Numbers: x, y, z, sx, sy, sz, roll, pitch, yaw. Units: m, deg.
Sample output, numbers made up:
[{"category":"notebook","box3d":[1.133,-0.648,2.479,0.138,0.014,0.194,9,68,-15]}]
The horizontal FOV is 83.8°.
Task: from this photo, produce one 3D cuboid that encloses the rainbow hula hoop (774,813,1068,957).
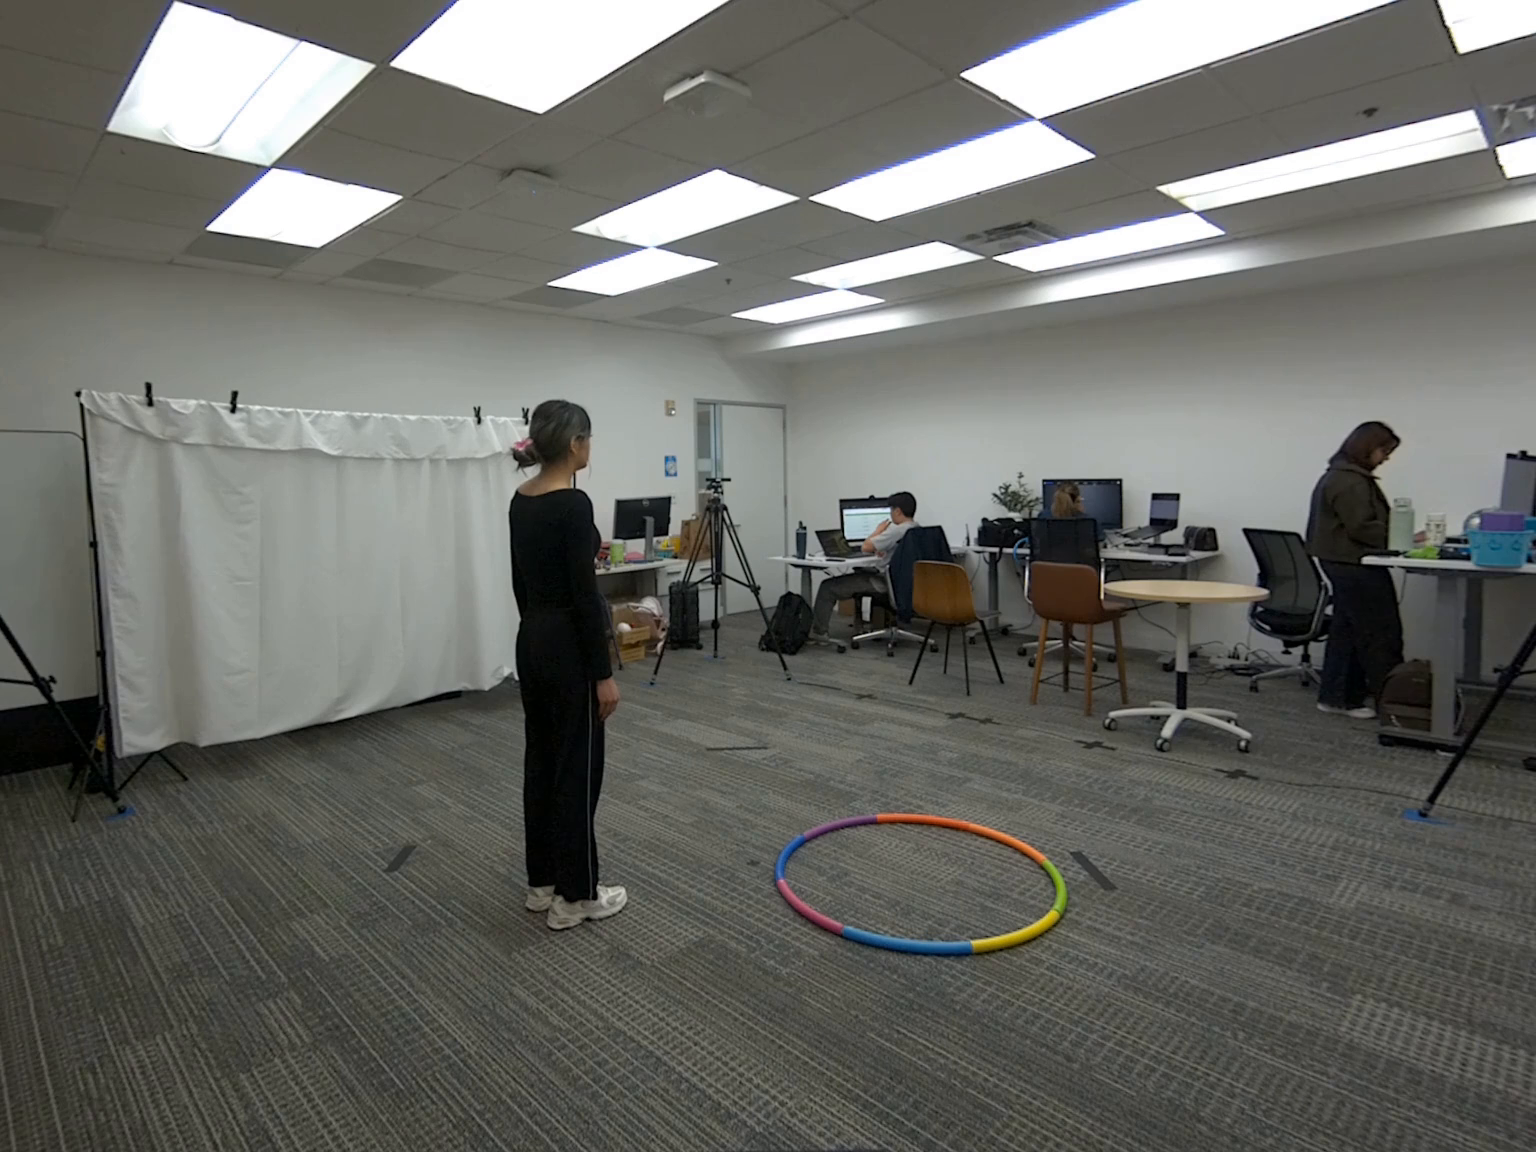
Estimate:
[{"category":"rainbow hula hoop","box3d":[0.510,1.019,2.972,0.978,0.035,0.984,-2,6,-2]}]
